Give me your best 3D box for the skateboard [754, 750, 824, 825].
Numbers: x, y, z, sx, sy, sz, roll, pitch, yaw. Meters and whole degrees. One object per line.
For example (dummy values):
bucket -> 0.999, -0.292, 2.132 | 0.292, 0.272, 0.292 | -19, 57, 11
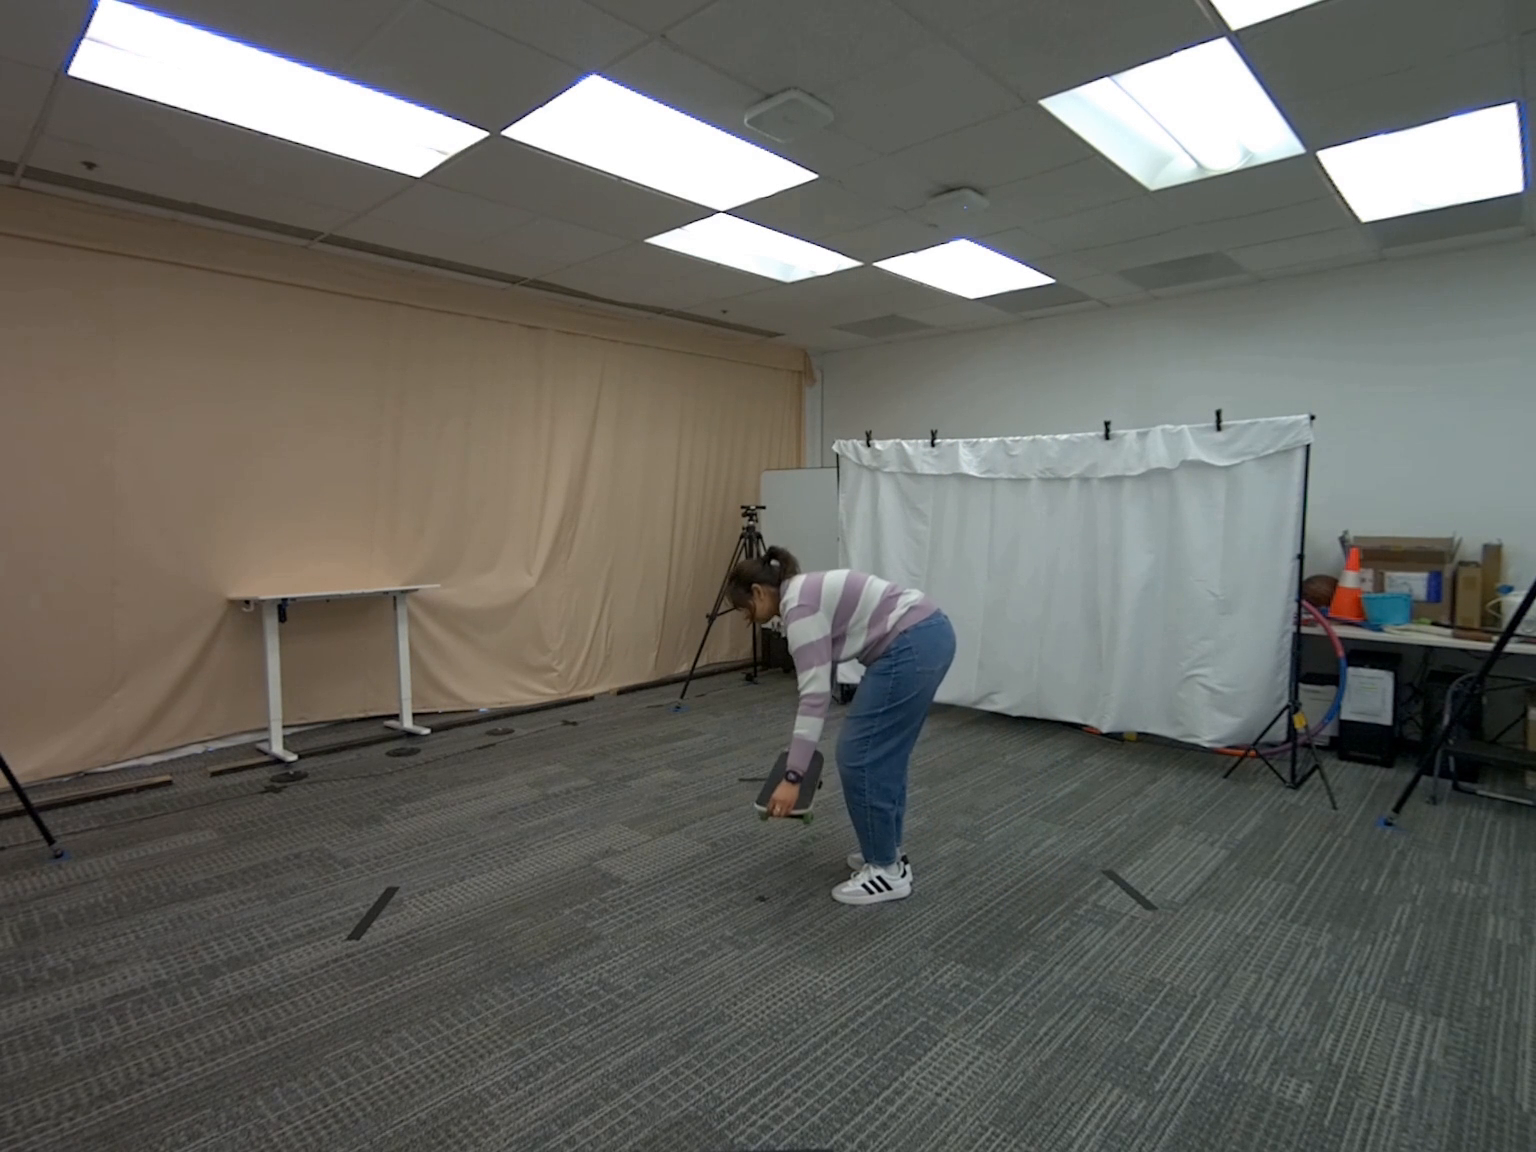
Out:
skateboard -> 0.098, 0.795, 3.114 | 0.195, 0.110, 0.778 | 2, 4, 8
